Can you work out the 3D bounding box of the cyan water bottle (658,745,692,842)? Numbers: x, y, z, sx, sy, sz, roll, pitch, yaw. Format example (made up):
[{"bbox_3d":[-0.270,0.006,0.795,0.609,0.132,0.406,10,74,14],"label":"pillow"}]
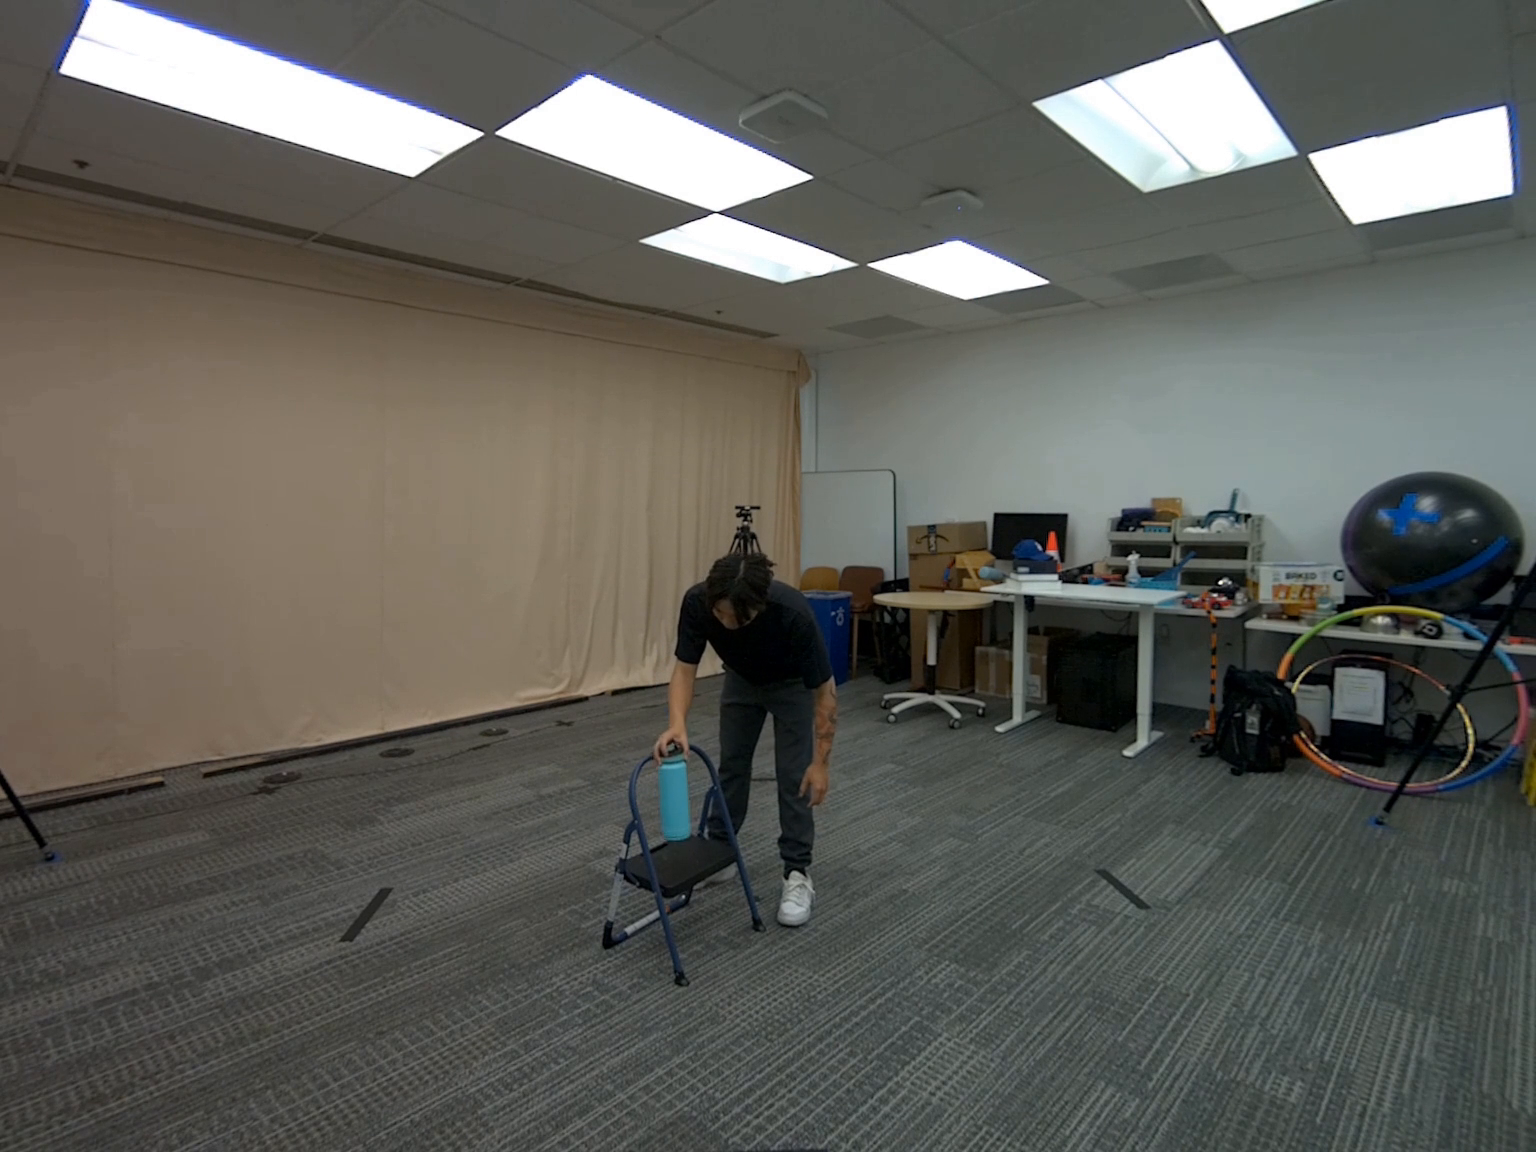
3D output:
[{"bbox_3d":[-0.291,0.657,2.584,0.092,0.283,0.092,-1,0,-2],"label":"cyan water bottle"}]
